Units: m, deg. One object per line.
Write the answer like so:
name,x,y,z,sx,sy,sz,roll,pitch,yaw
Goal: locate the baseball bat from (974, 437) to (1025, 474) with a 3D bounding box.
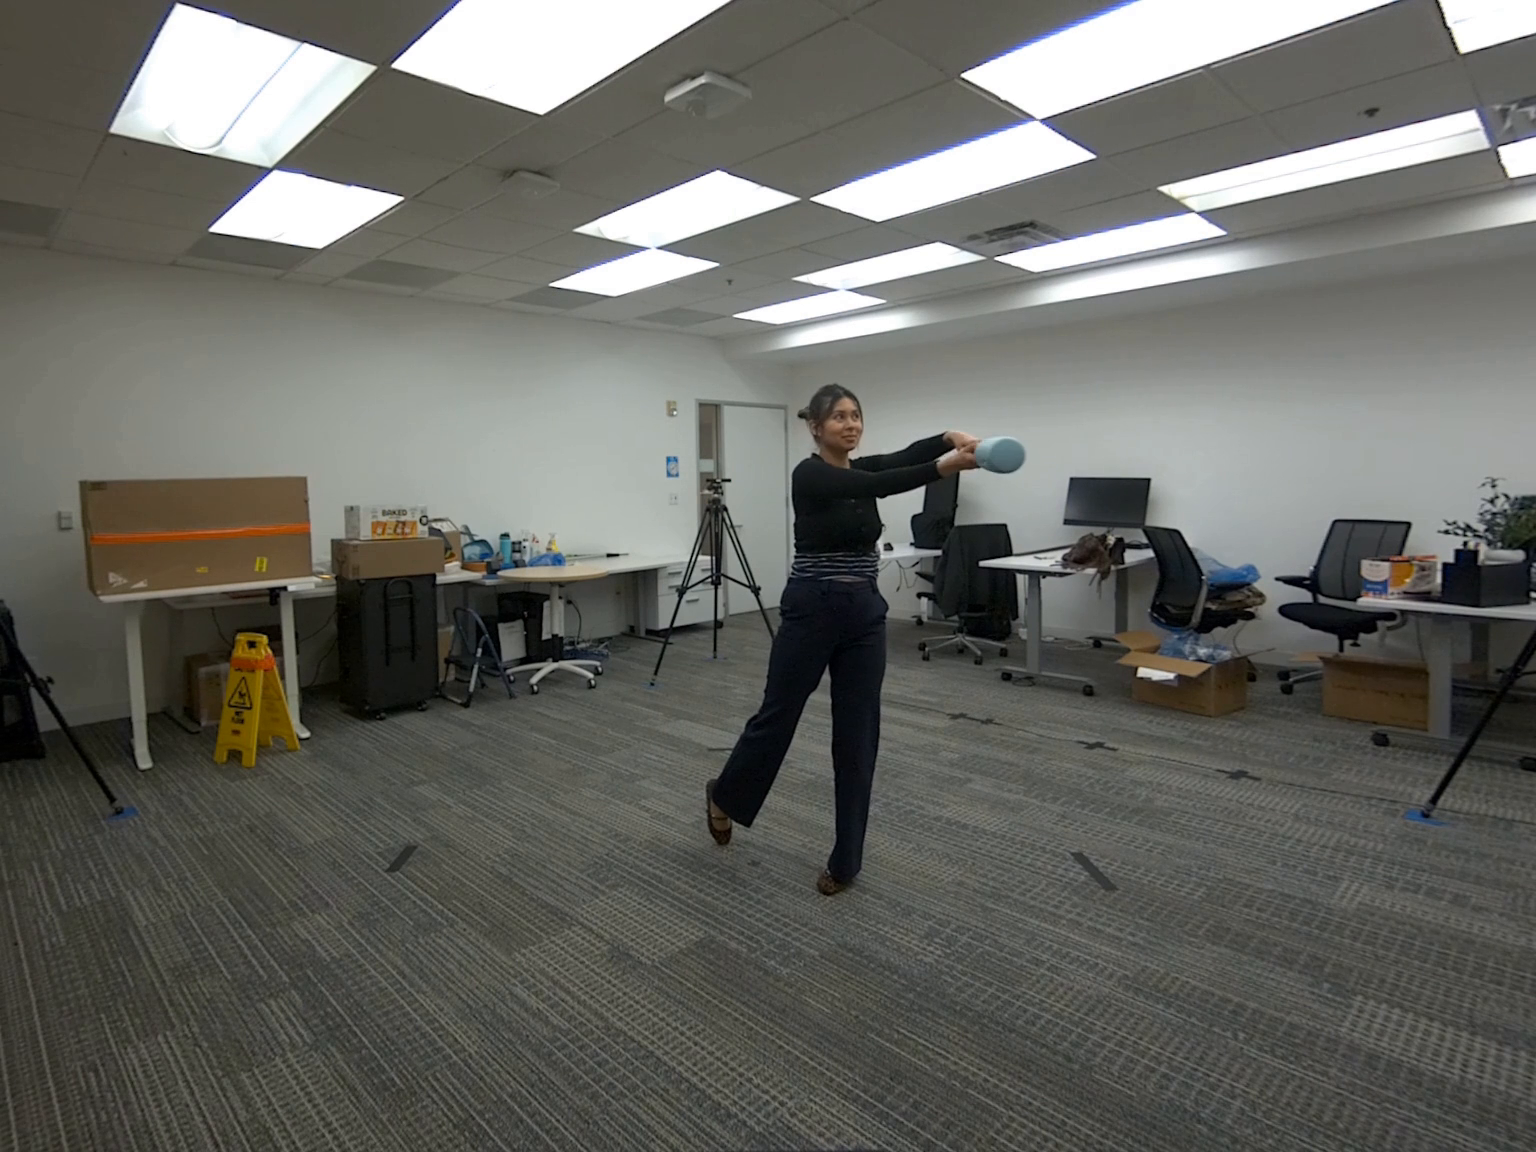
baseball bat,0.562,-0.320,2.236,0.089,0.088,0.544,-1,10,4
